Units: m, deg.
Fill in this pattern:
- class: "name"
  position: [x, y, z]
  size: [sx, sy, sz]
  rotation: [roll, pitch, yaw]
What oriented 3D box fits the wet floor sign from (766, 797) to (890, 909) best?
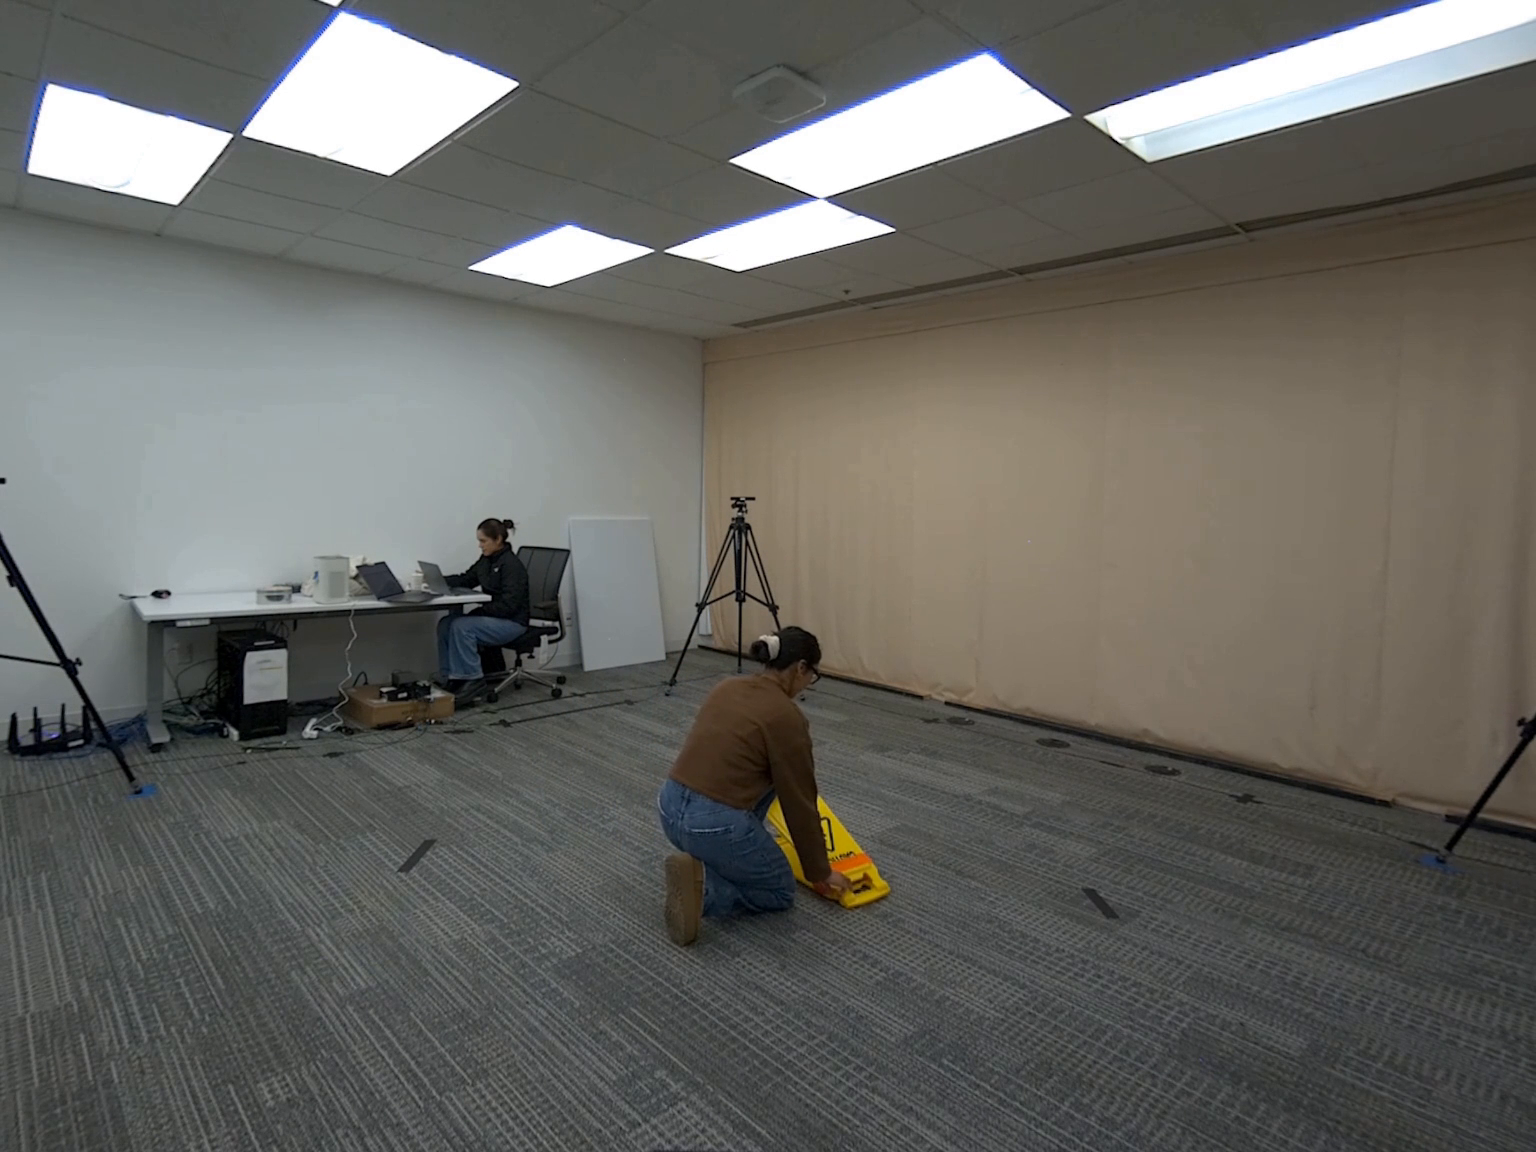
- class: "wet floor sign"
  position: [0.166, 1.028, 3.170]
  size: [0.277, 0.287, 0.665]
  rotation: [-5, 19, -31]
